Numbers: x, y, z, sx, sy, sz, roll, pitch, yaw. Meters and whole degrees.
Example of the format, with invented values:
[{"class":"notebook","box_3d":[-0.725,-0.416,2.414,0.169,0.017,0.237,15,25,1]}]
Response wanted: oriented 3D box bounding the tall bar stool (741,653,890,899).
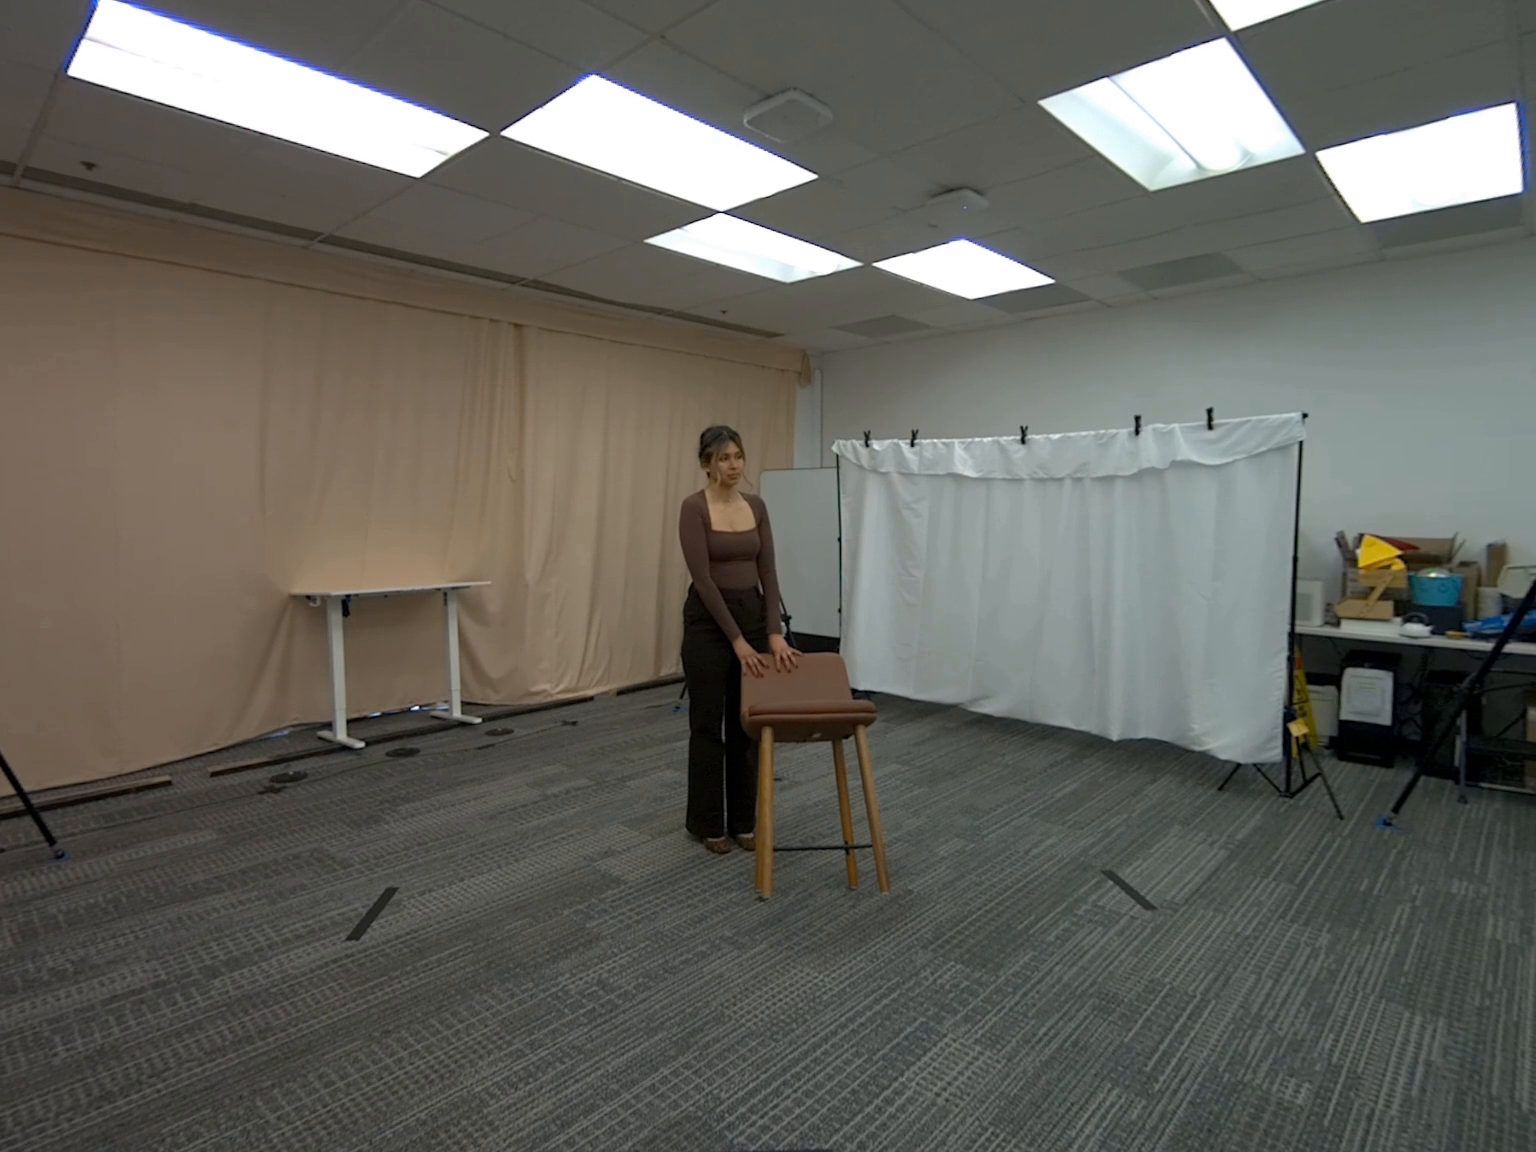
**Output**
[{"class":"tall bar stool","box_3d":[0.150,0.658,3.008,0.455,0.902,0.463,-1,-21,-4]}]
